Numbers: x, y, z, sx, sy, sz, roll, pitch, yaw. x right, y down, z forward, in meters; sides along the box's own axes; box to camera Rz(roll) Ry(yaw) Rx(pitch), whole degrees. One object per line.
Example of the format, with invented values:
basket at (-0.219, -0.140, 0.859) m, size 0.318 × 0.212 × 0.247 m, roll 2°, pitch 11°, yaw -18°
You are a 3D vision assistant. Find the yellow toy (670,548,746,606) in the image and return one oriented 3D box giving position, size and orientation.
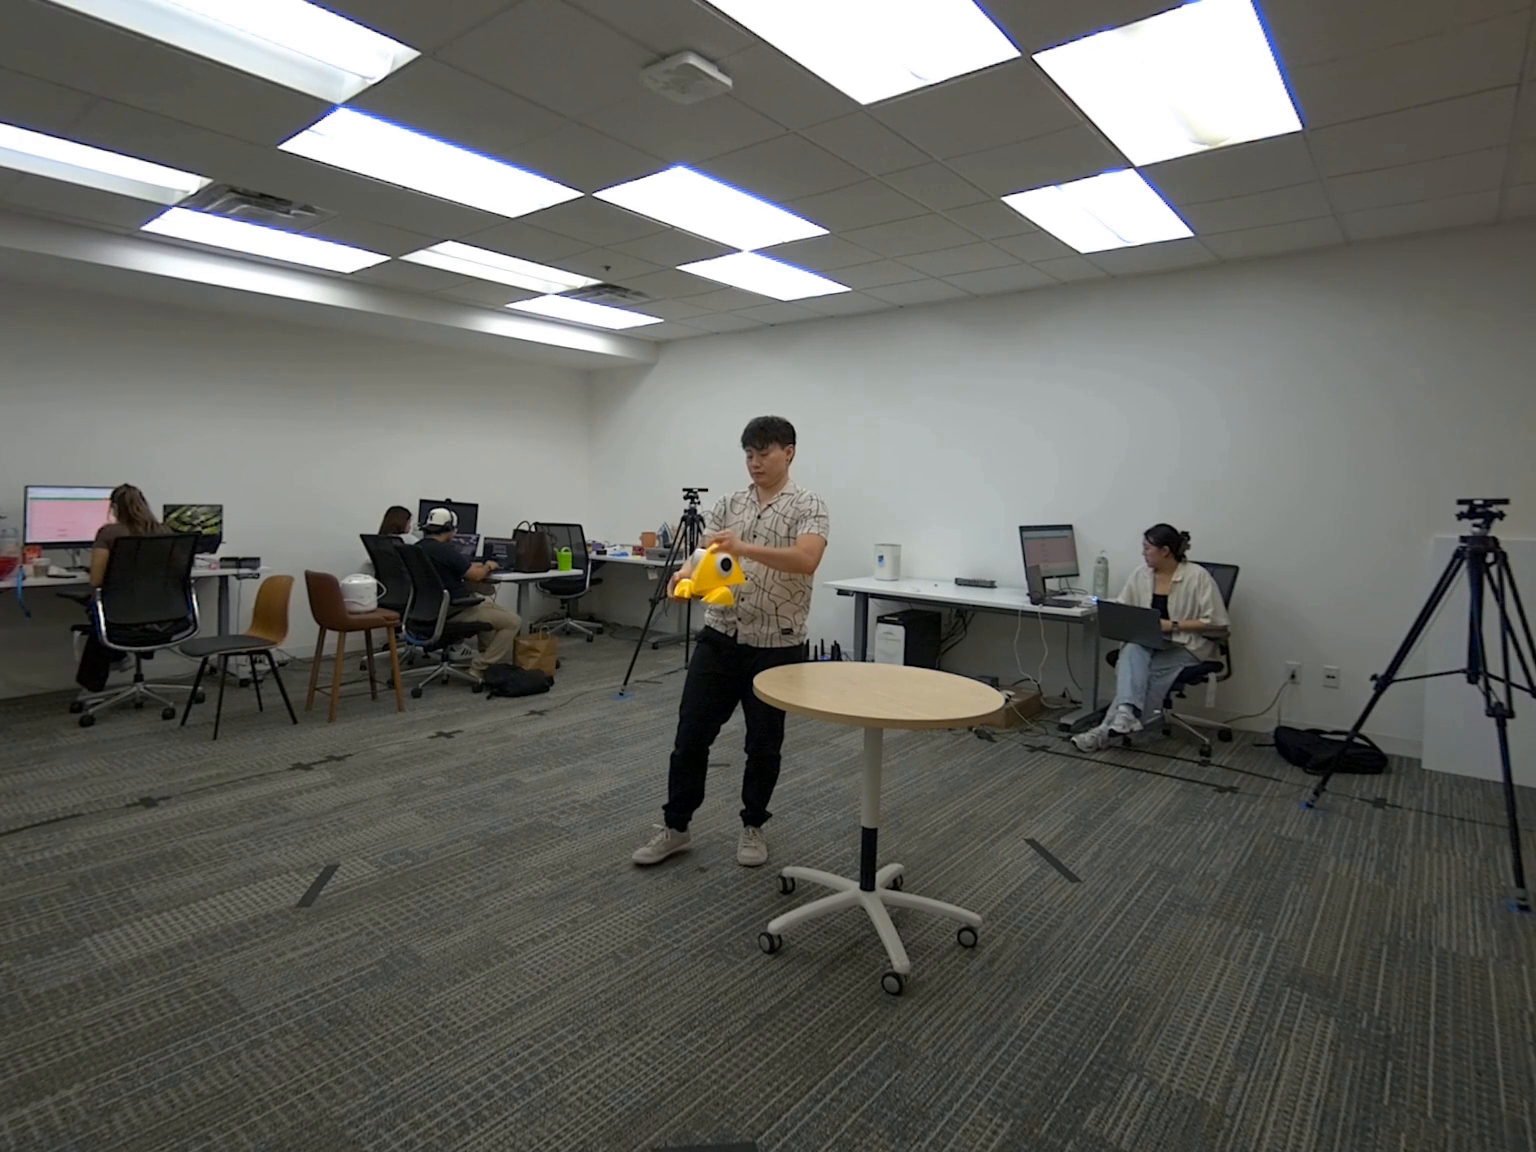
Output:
yellow toy at (-0.215, -0.033, 2.890) m, size 0.211 × 0.231 × 0.187 m, roll 11°, pitch 1°, yaw 26°
